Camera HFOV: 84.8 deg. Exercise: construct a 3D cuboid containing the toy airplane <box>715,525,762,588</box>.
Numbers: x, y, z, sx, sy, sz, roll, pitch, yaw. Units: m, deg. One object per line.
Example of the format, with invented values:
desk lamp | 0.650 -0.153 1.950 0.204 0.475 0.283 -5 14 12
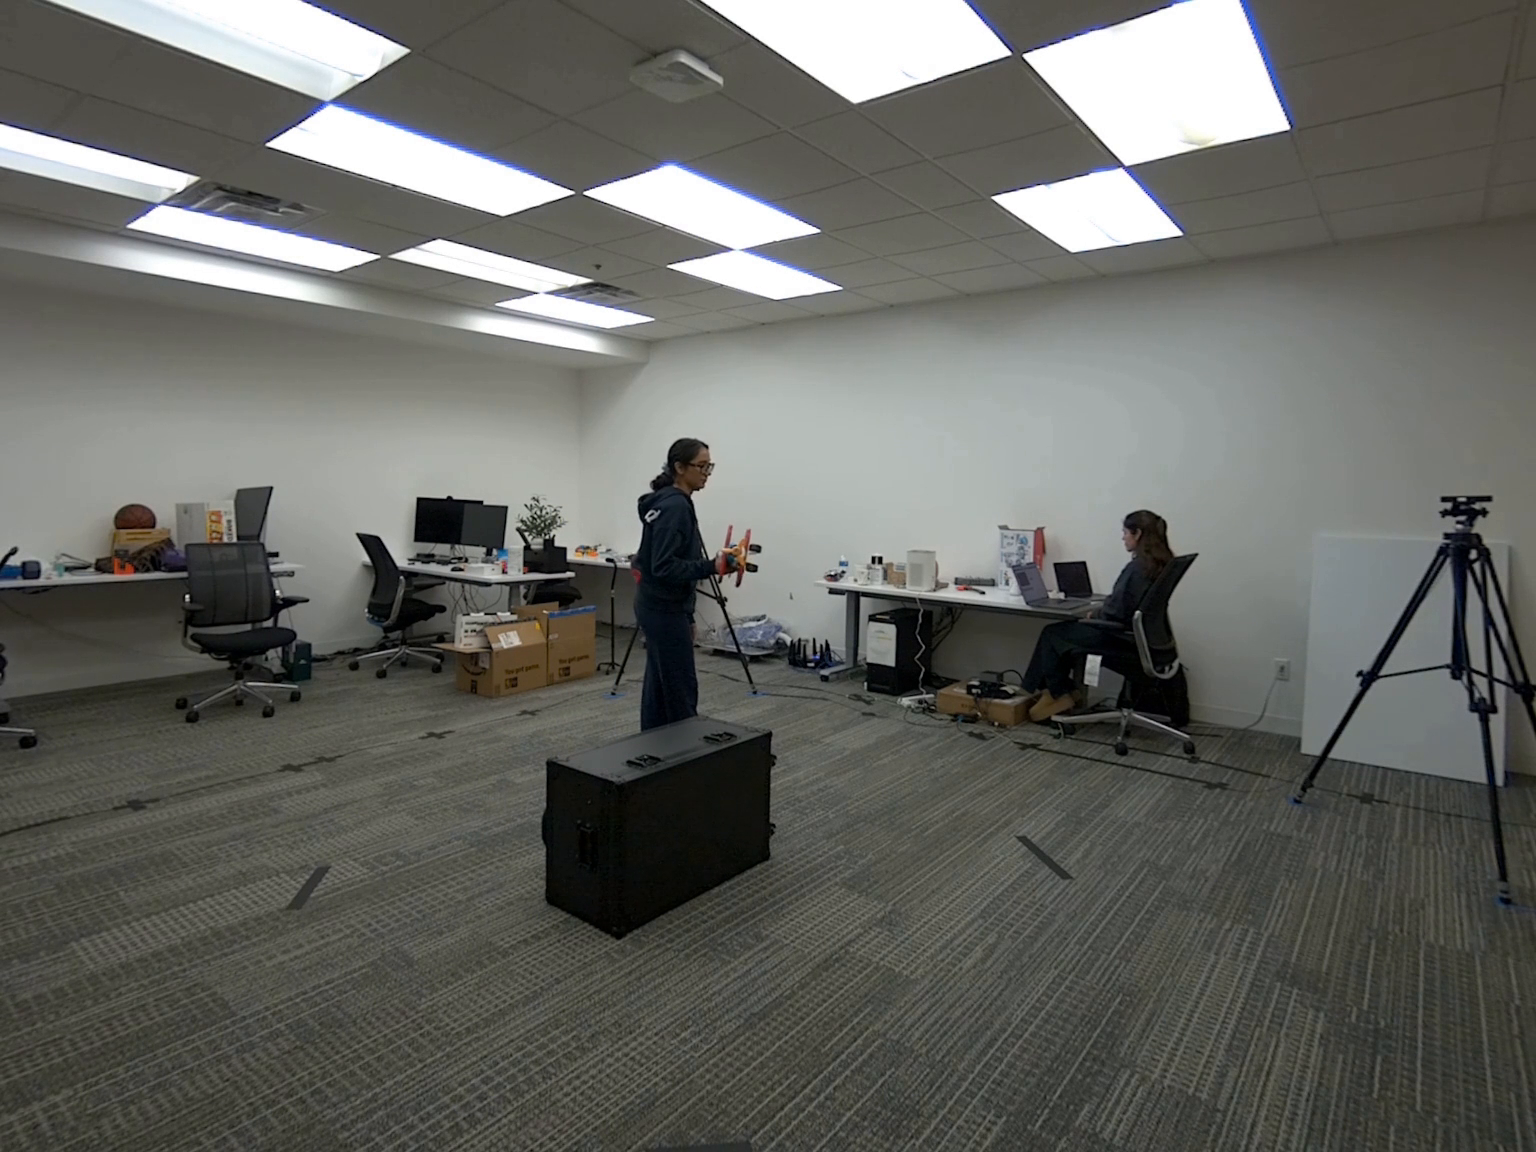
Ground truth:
toy airplane | -0.146 -0.060 3.624 0.153 0.258 0.257 14 -42 -17
